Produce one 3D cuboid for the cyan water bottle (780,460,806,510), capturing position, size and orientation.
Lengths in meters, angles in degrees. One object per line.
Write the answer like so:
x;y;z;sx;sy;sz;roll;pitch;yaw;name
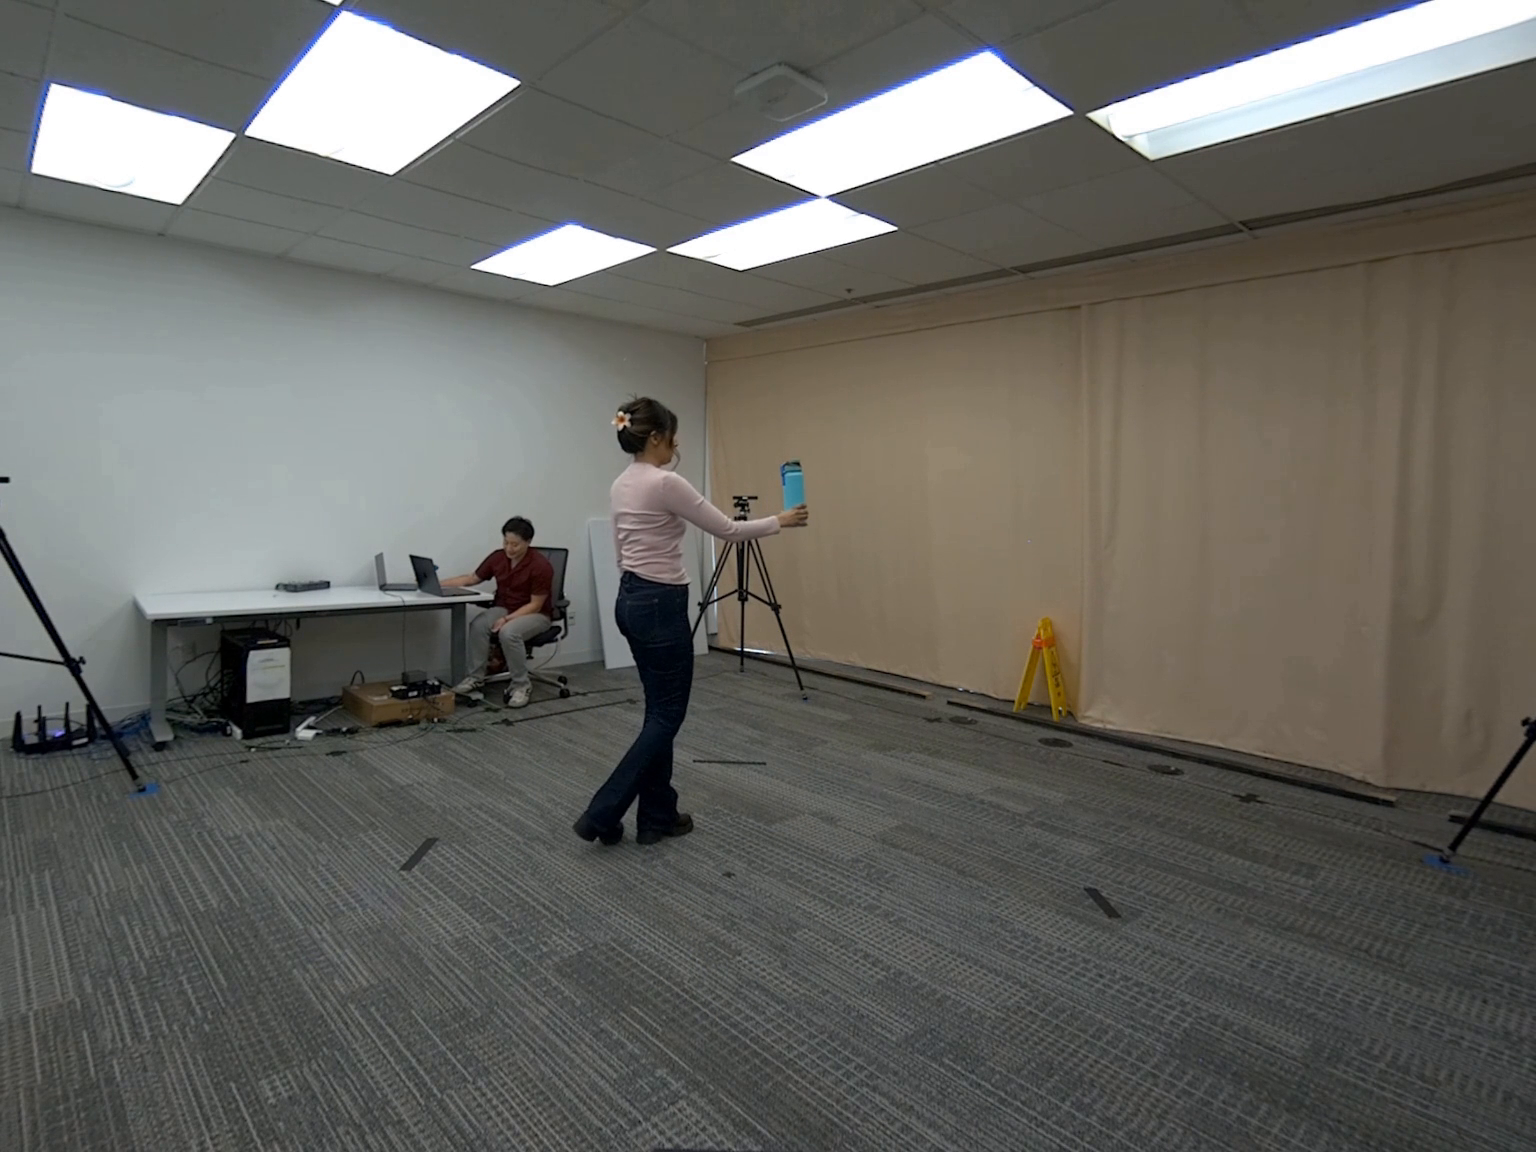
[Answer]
0.094;-0.348;3.504;0.092;0.283;0.092;-6;1;-1;cyan water bottle
